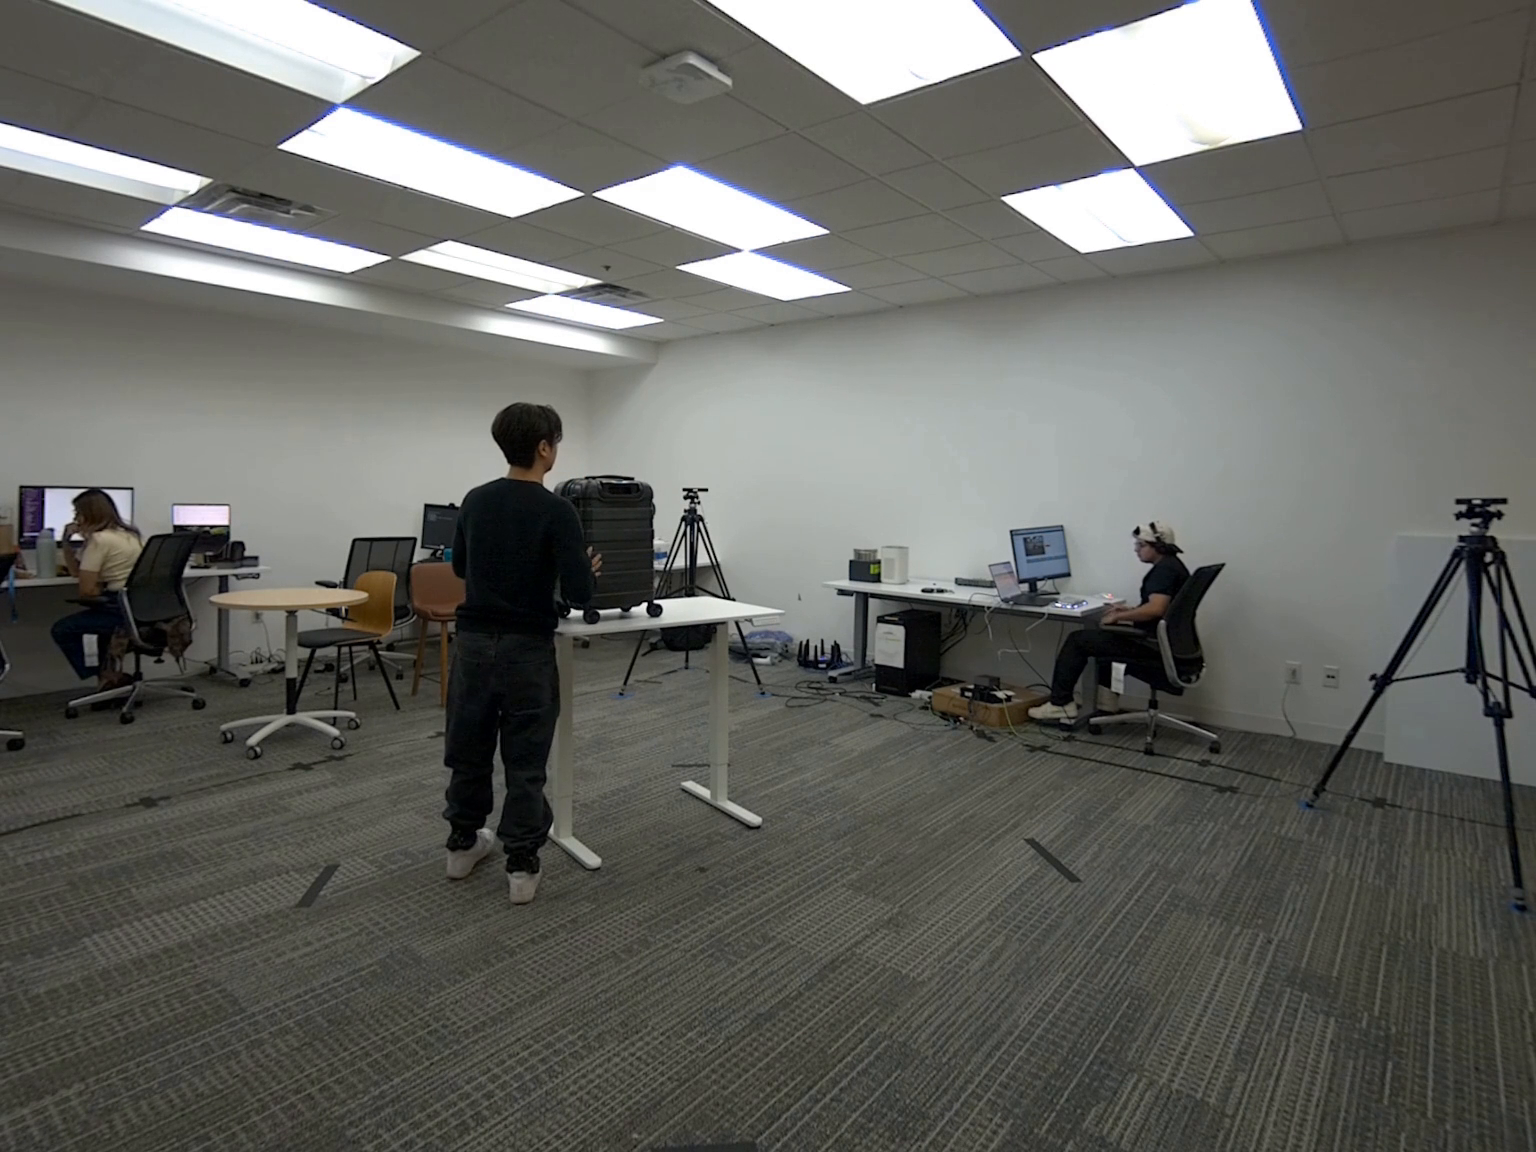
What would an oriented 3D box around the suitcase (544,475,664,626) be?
[{"bbox_3d":[-0.646,-0.116,3.310,0.364,0.547,0.256,-5,5,-41],"label":"suitcase"}]
